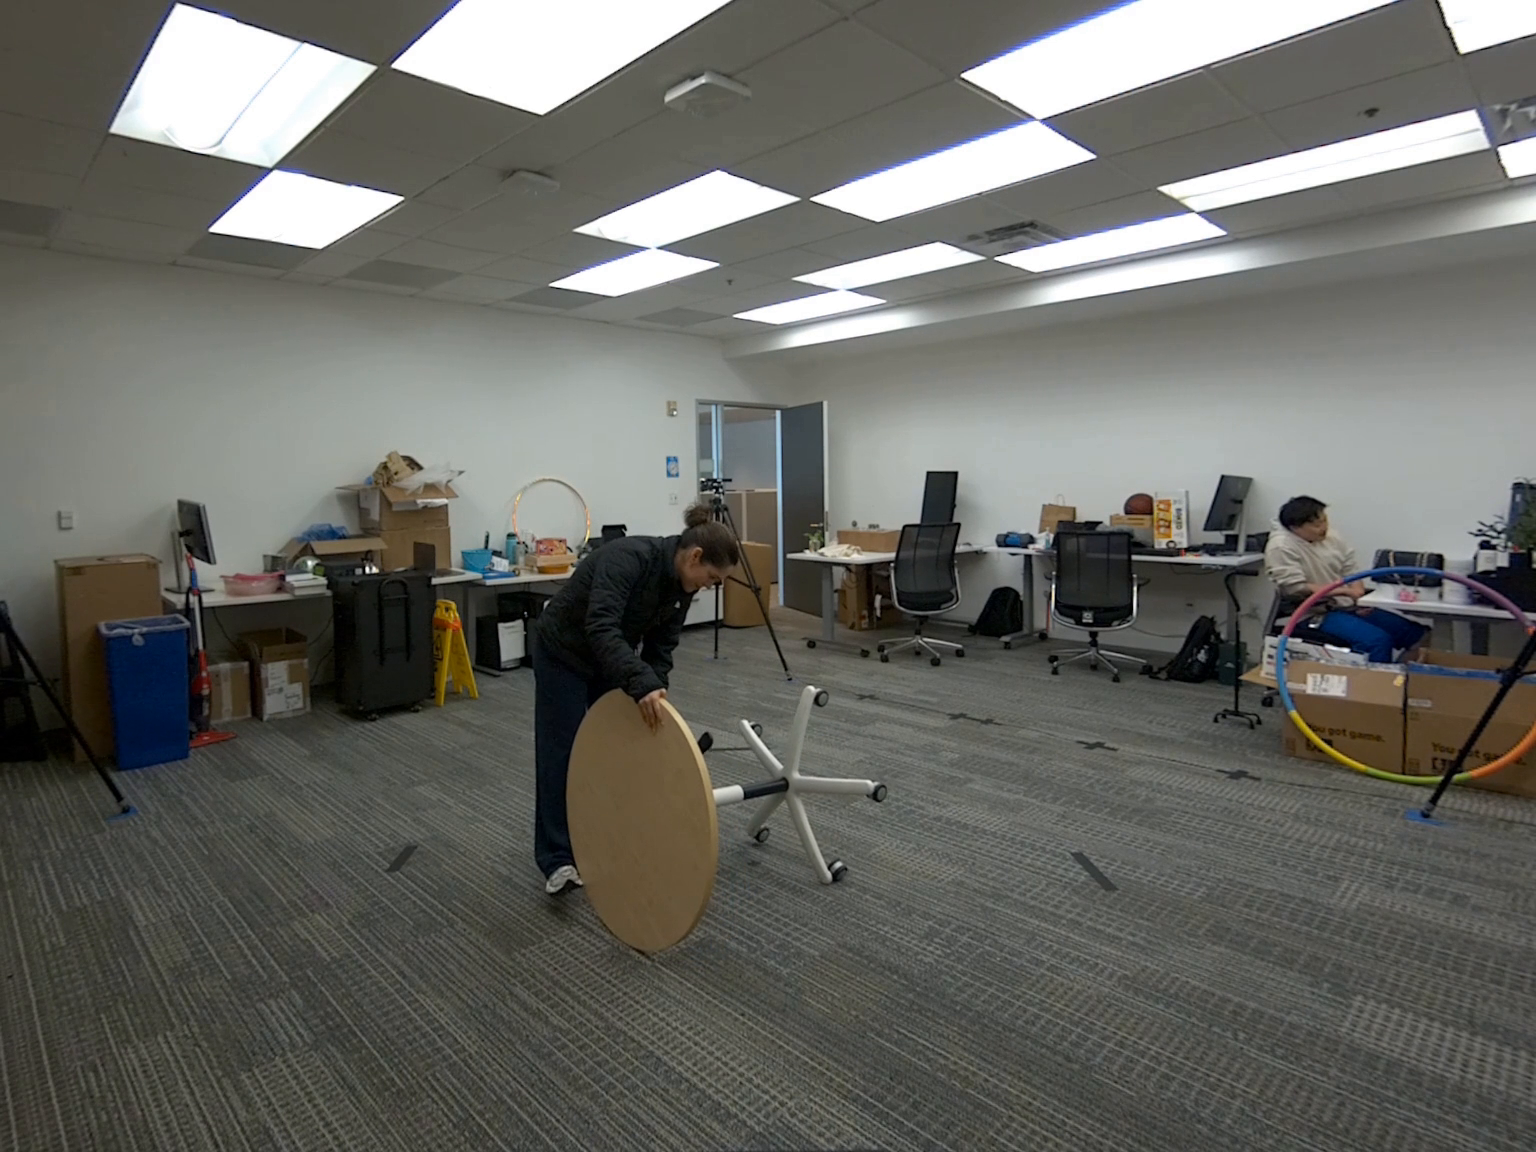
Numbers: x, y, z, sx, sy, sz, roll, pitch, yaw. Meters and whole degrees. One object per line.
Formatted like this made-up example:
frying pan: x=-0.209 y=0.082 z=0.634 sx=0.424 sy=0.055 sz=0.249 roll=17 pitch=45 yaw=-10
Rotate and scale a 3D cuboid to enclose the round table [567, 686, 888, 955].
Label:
round table: x=-0.133 y=0.726 z=2.878 sx=0.763 sy=0.785 sz=0.809 roll=3 pitch=1 yaw=-43
